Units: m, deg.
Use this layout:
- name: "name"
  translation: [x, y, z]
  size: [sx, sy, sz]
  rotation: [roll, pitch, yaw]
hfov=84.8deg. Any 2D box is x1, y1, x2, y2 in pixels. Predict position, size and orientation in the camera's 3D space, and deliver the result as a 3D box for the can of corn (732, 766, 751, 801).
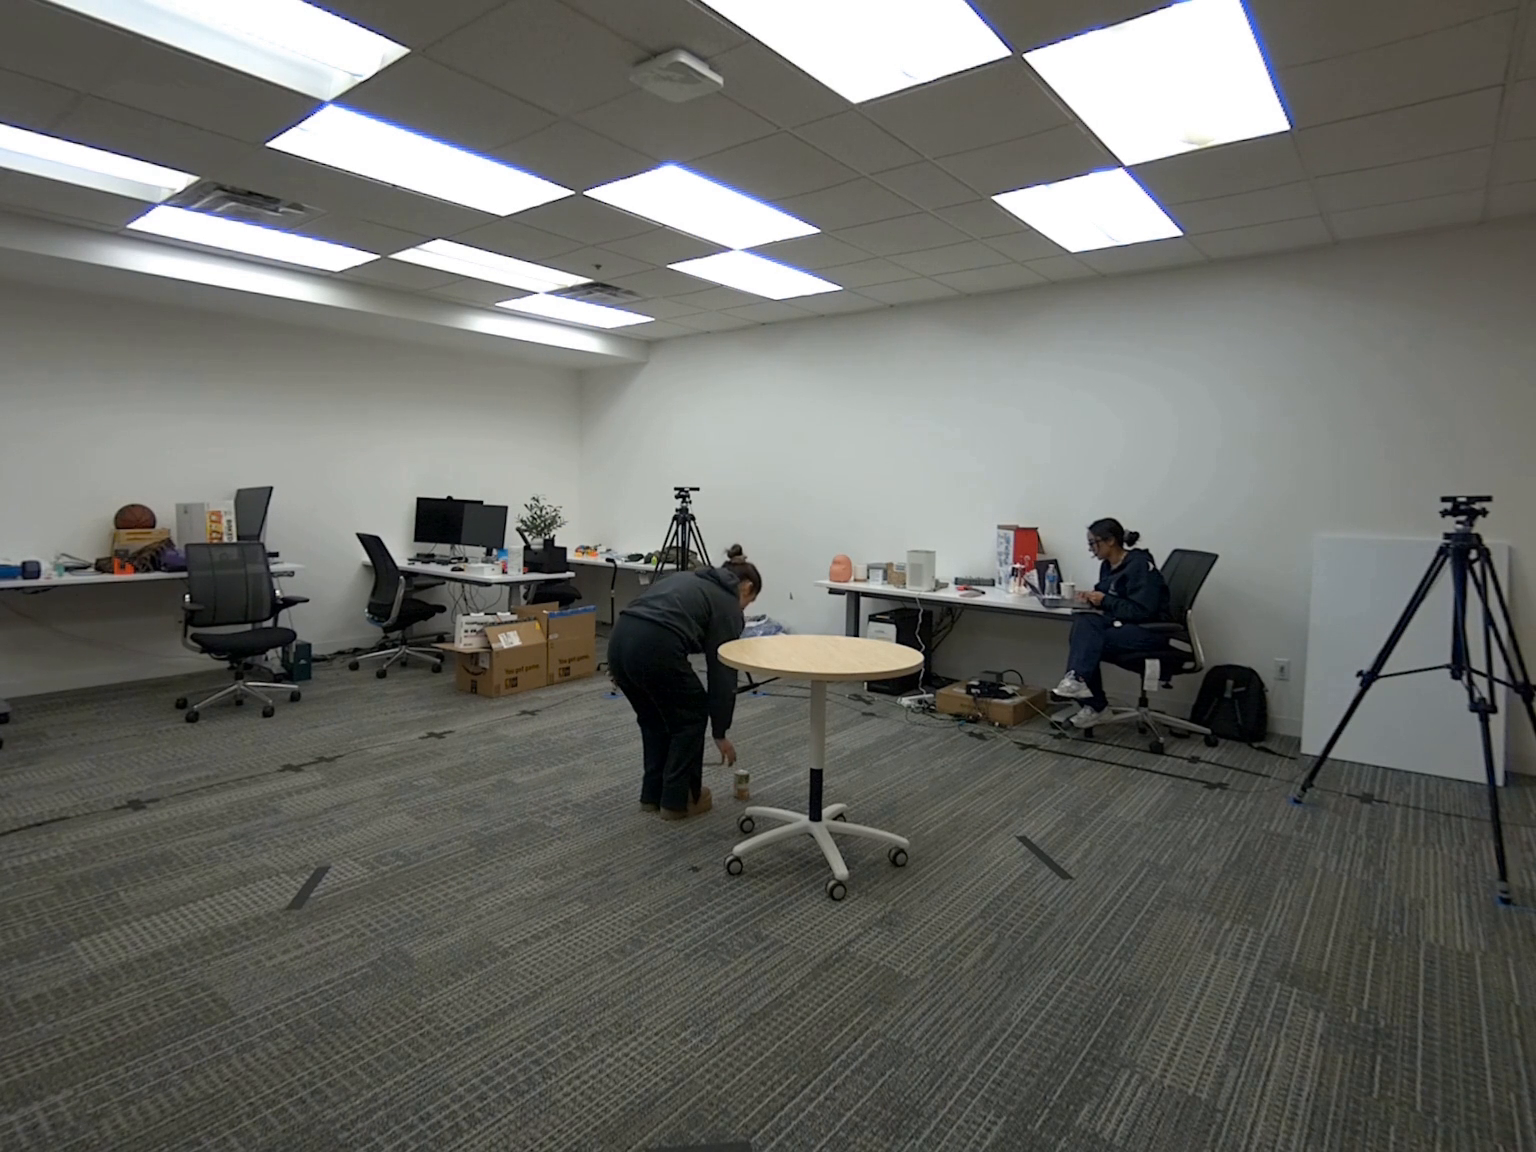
- name: "can of corn"
  translation: [-0.121, 0.945, 3.855]
  size: [0.074, 0.110, 0.074]
  rotation: [0, 4, -2]
